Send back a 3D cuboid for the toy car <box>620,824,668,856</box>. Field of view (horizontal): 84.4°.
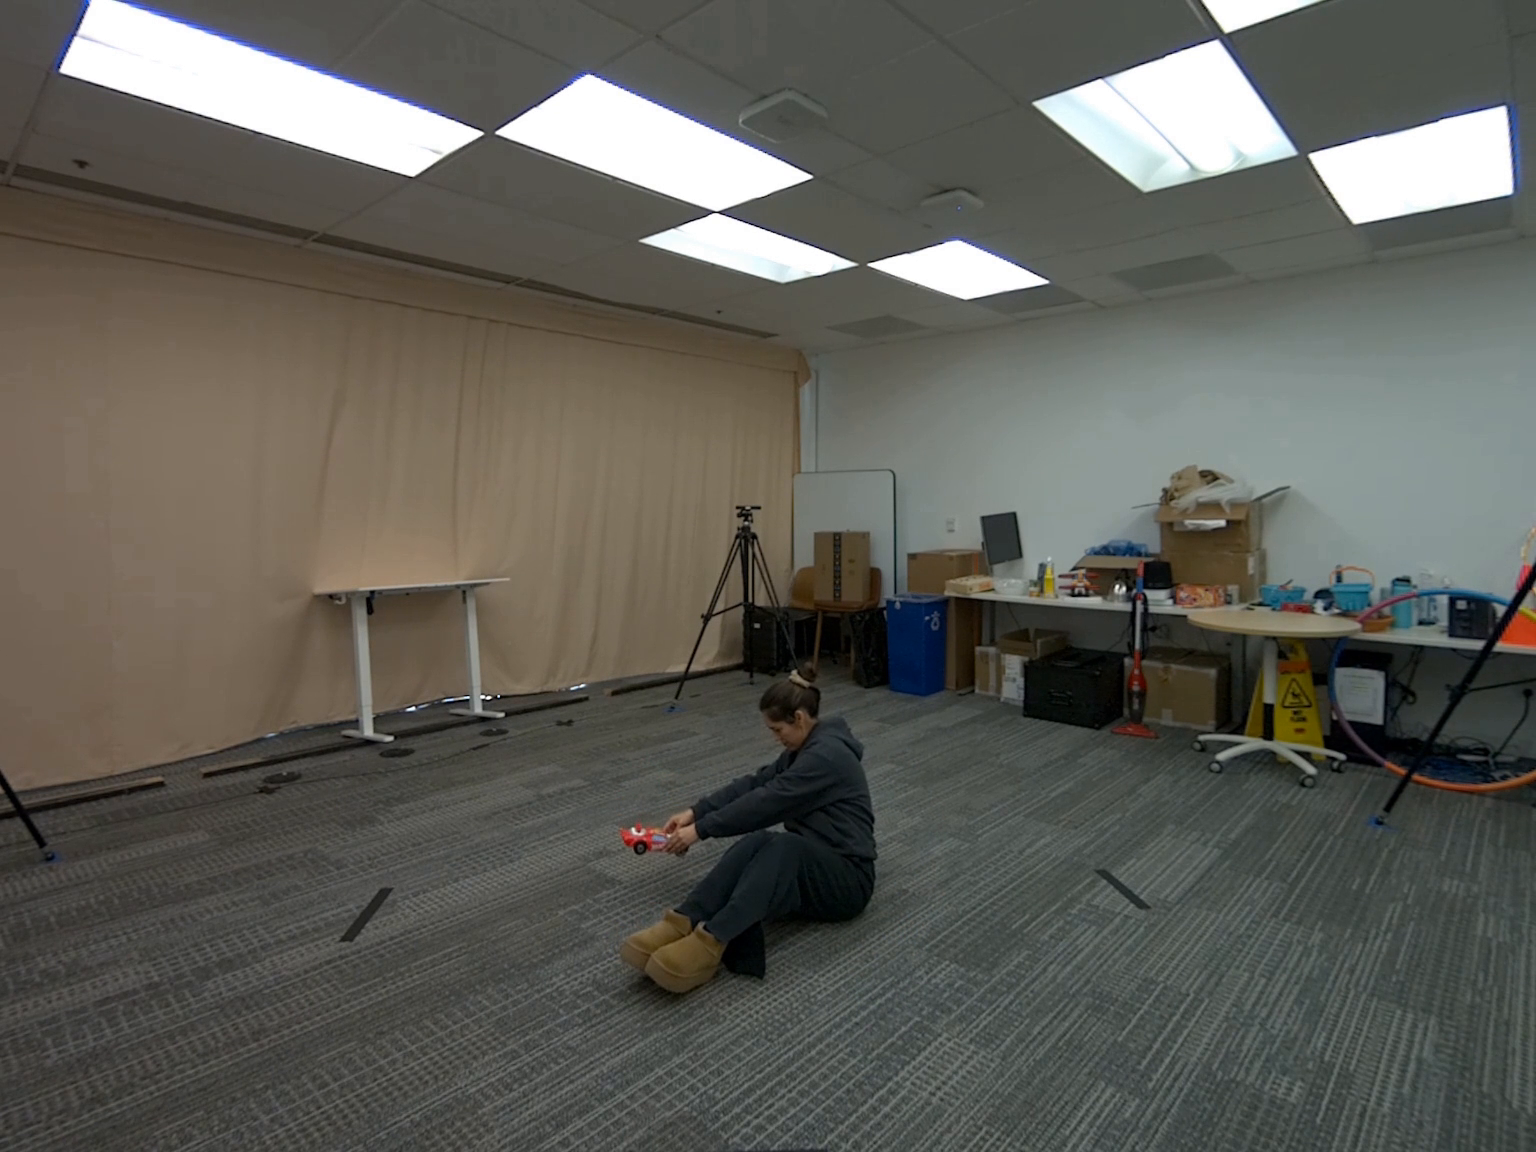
[{"bbox_3d":[-0.393,0.961,3.029,0.252,0.083,0.131,20,-2,-7],"label":"toy car"}]
